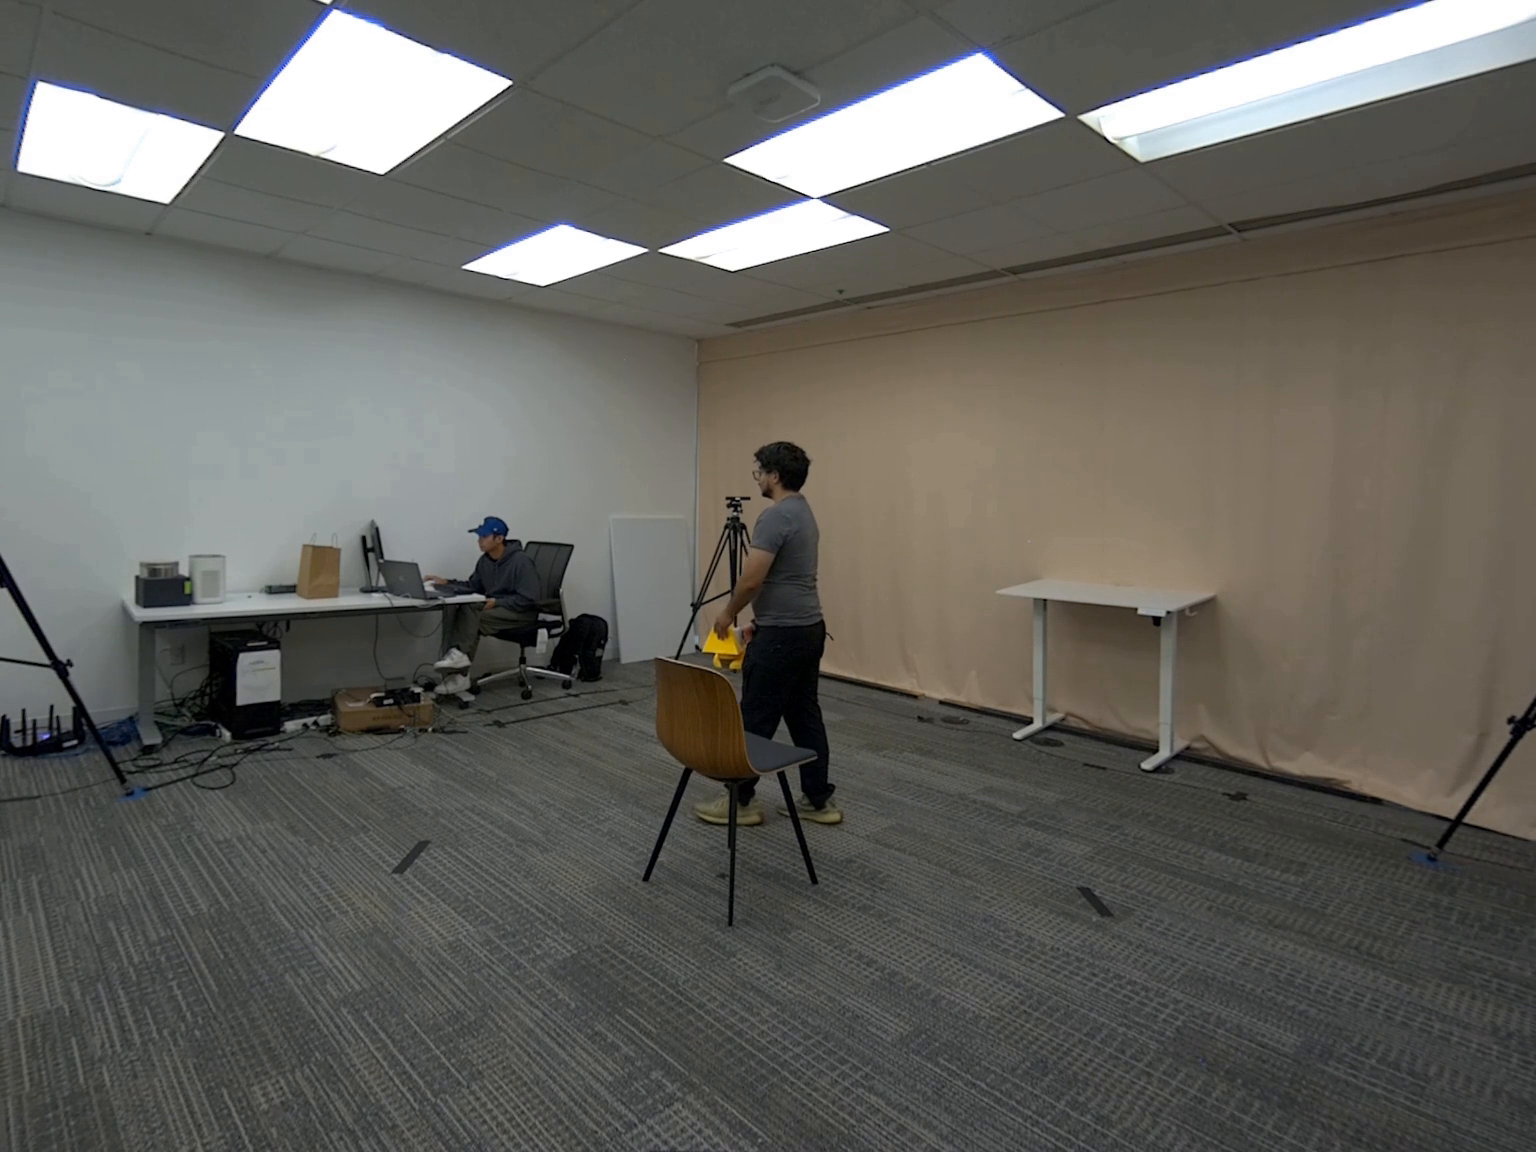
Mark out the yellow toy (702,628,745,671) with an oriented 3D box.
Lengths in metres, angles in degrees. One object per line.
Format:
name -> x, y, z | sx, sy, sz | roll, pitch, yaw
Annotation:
yellow toy -> -0.178, 0.278, 3.786 | 0.209, 0.228, 0.190 | 0, 15, 37
